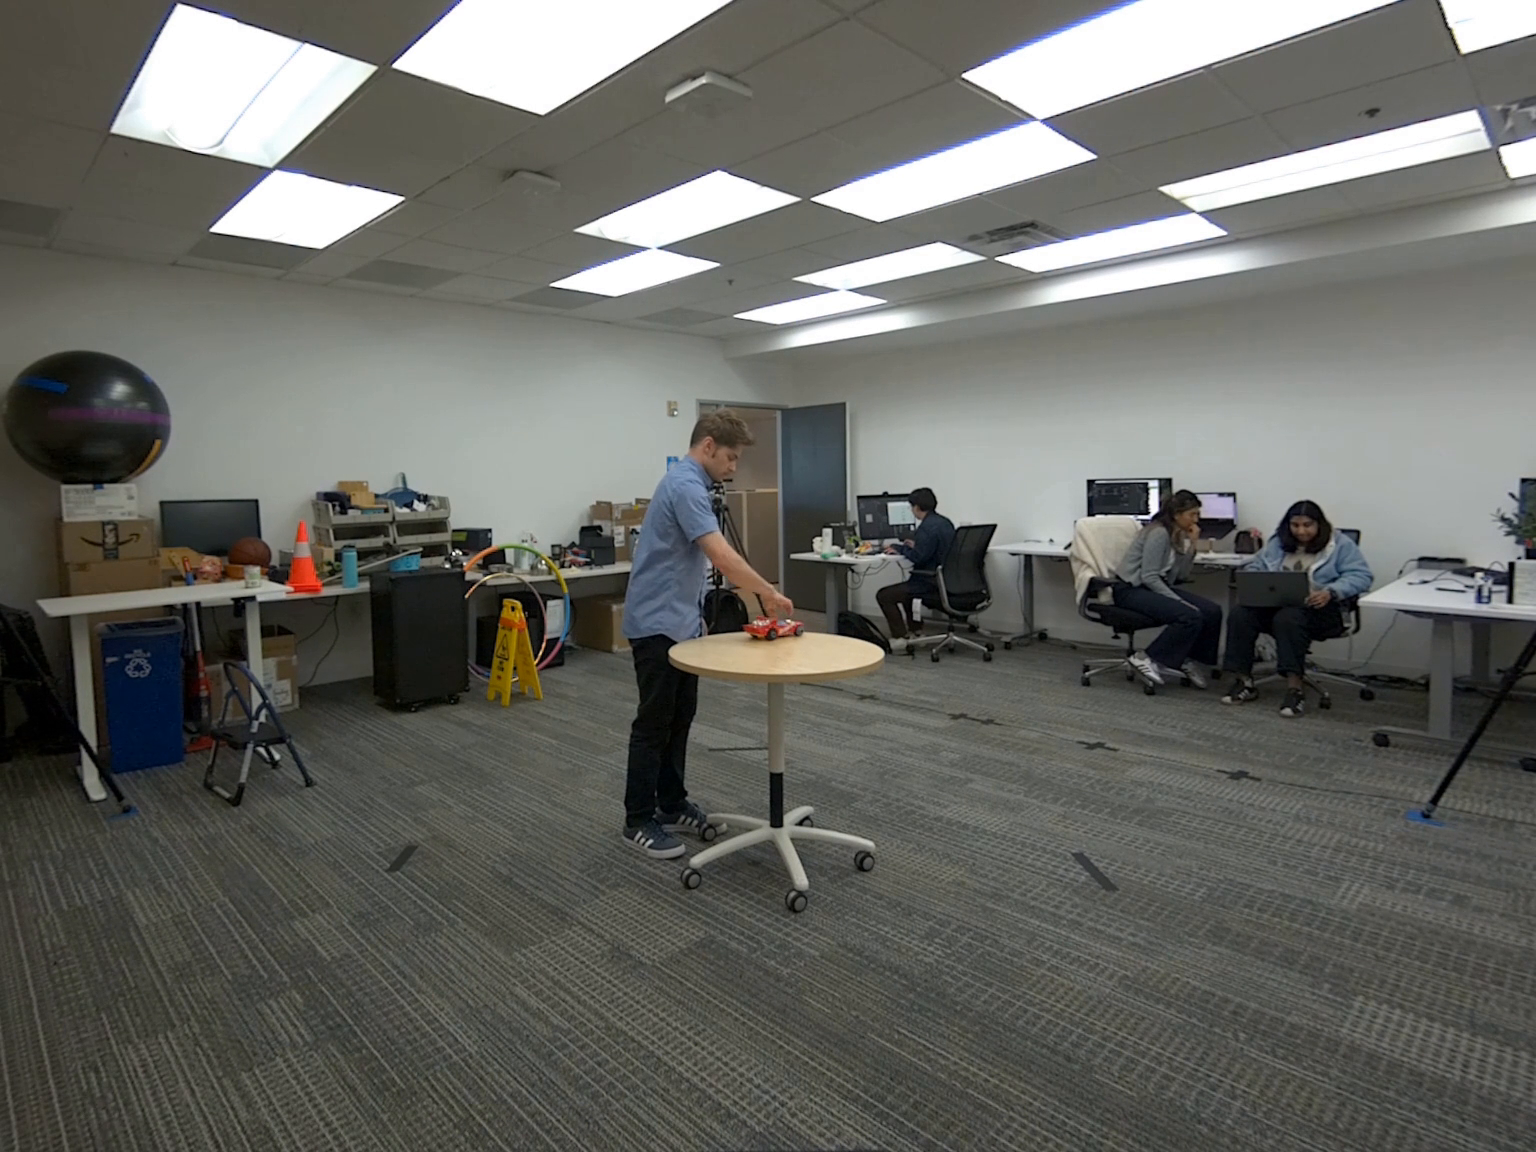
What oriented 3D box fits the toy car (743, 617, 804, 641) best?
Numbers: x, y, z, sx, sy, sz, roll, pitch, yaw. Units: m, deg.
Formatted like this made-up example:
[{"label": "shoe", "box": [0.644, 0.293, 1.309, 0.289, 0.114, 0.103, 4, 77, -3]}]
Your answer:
[{"label": "toy car", "box": [0.013, 0.205, 3.307, 0.246, 0.083, 0.134, 9, -1, -40]}]
